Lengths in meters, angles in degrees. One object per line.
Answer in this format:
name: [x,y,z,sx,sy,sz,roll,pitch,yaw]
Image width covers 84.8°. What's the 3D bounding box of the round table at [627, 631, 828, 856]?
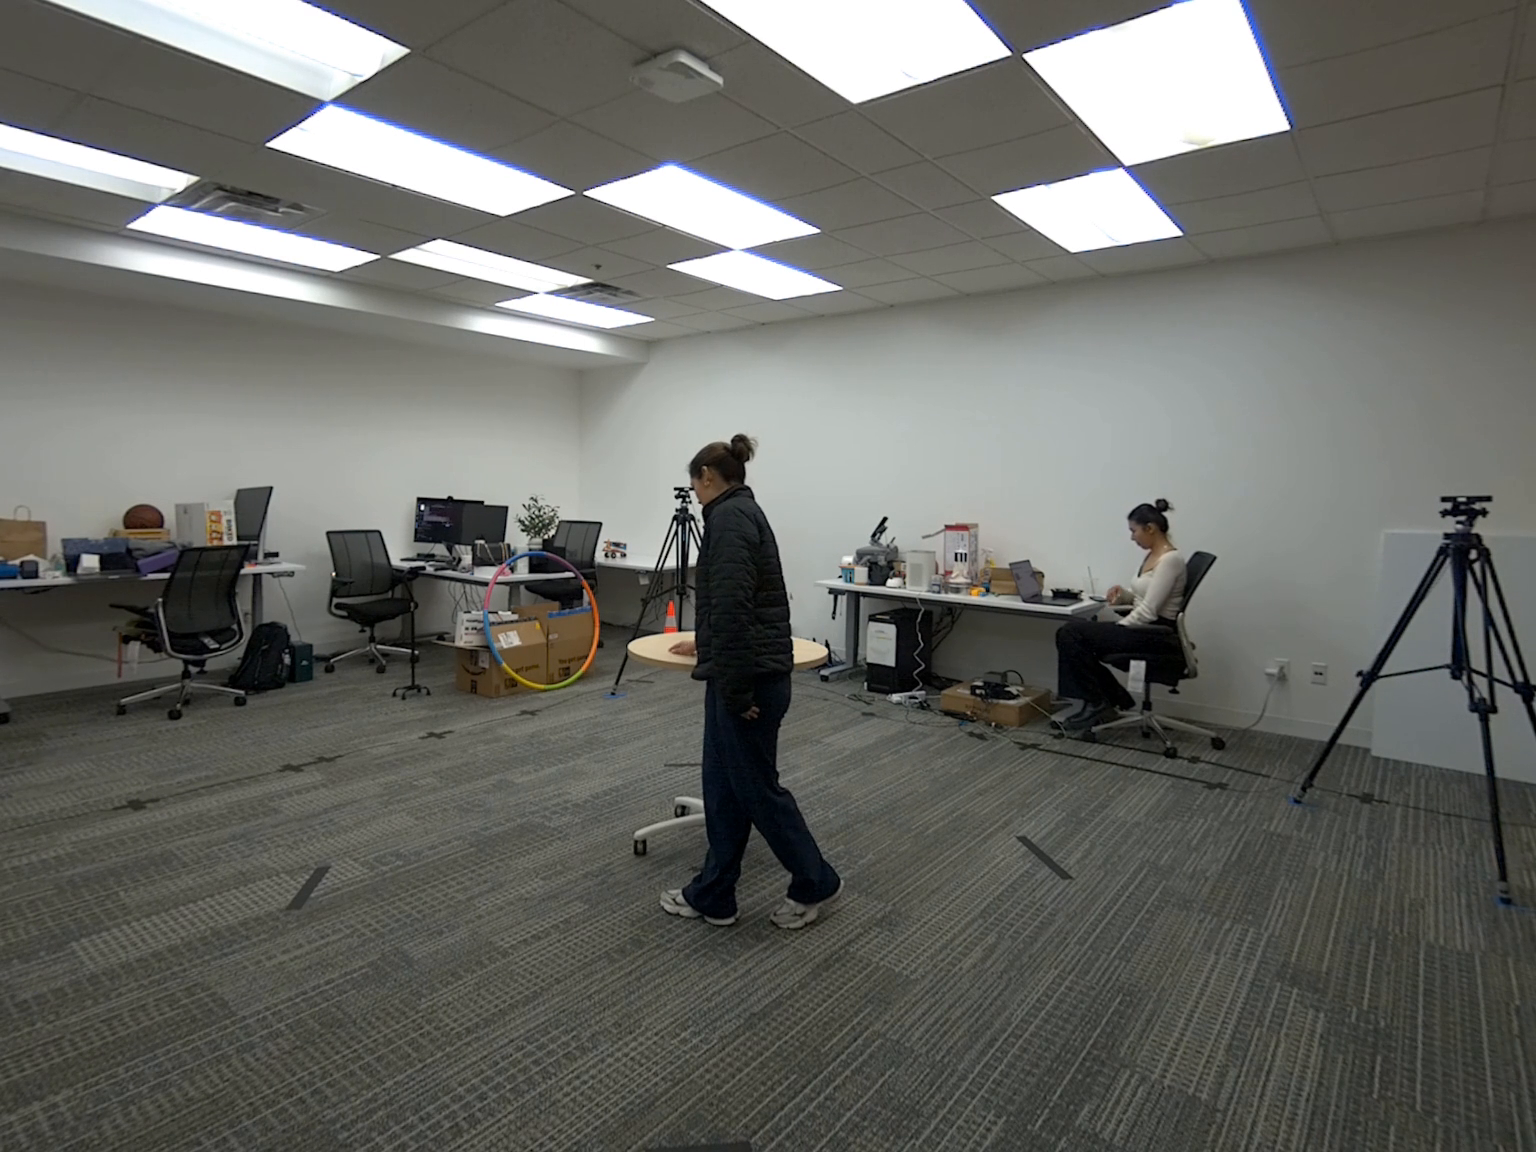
round table: [-0.132,0.654,3.287,0.784,0.784,0.789,1,4,-2]
